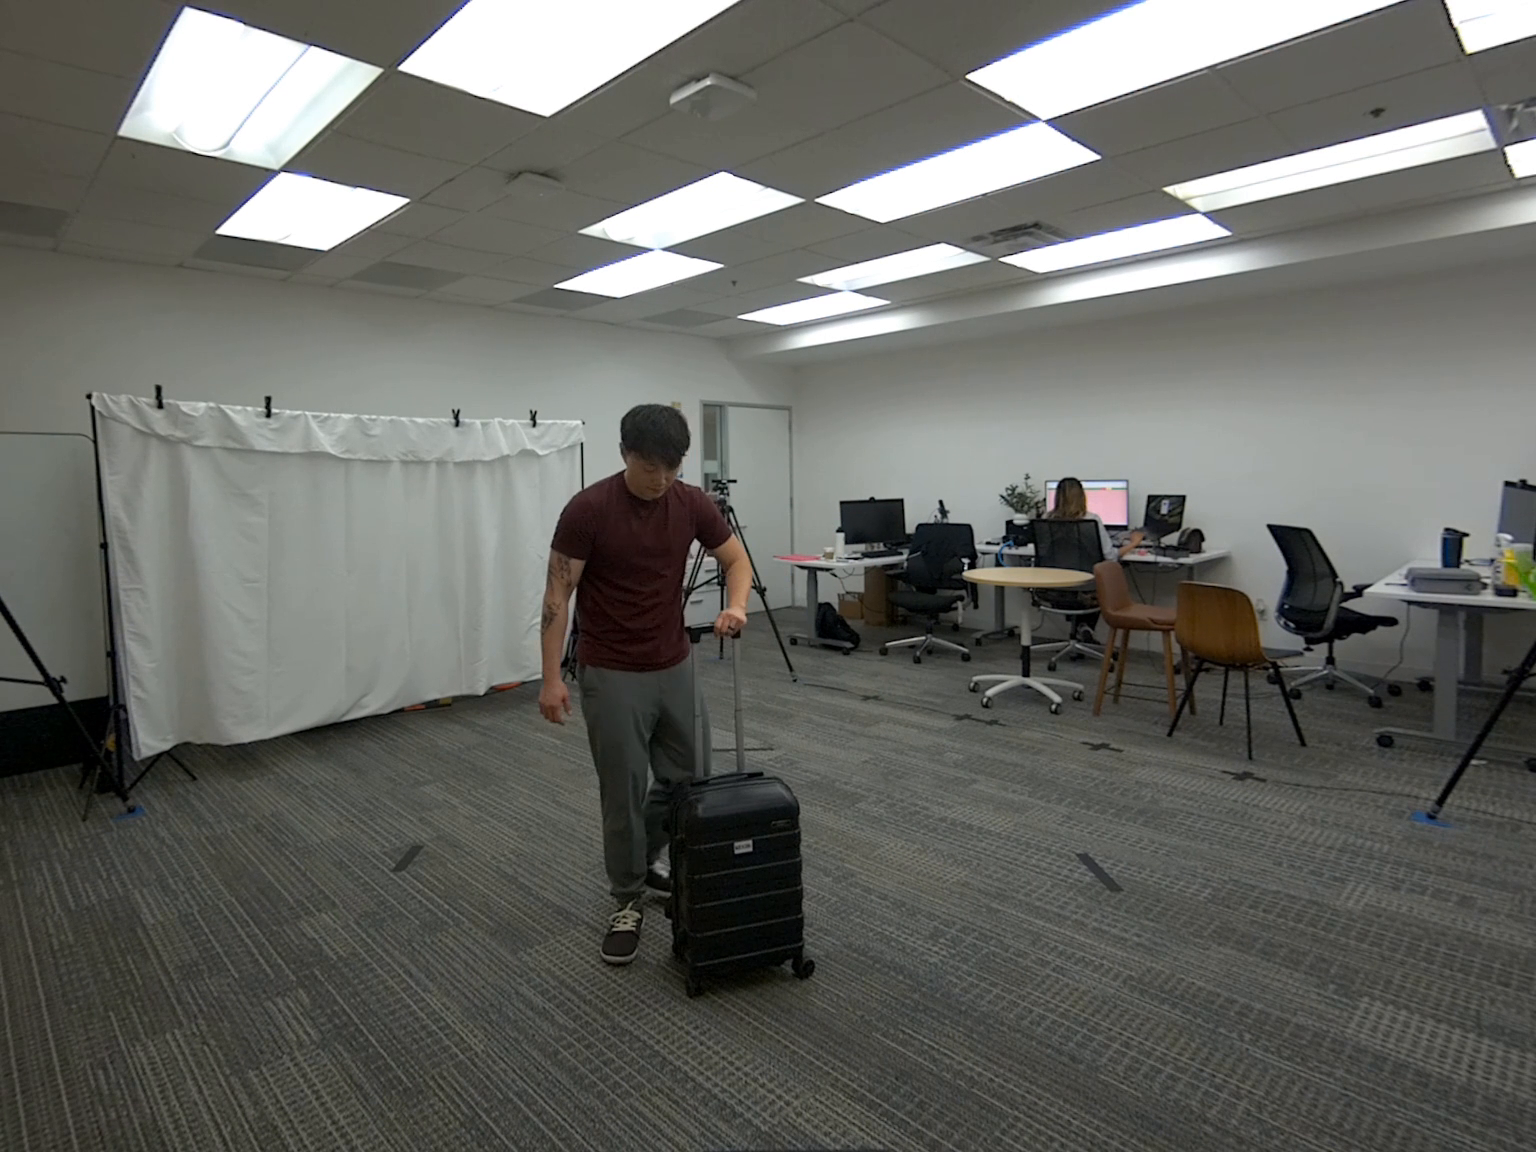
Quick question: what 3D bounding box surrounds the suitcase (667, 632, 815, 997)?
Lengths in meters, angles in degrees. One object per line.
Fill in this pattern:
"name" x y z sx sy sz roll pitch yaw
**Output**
"suitcase" -0.088 0.657 2.408 0.379 0.973 0.262 -3 6 -15
